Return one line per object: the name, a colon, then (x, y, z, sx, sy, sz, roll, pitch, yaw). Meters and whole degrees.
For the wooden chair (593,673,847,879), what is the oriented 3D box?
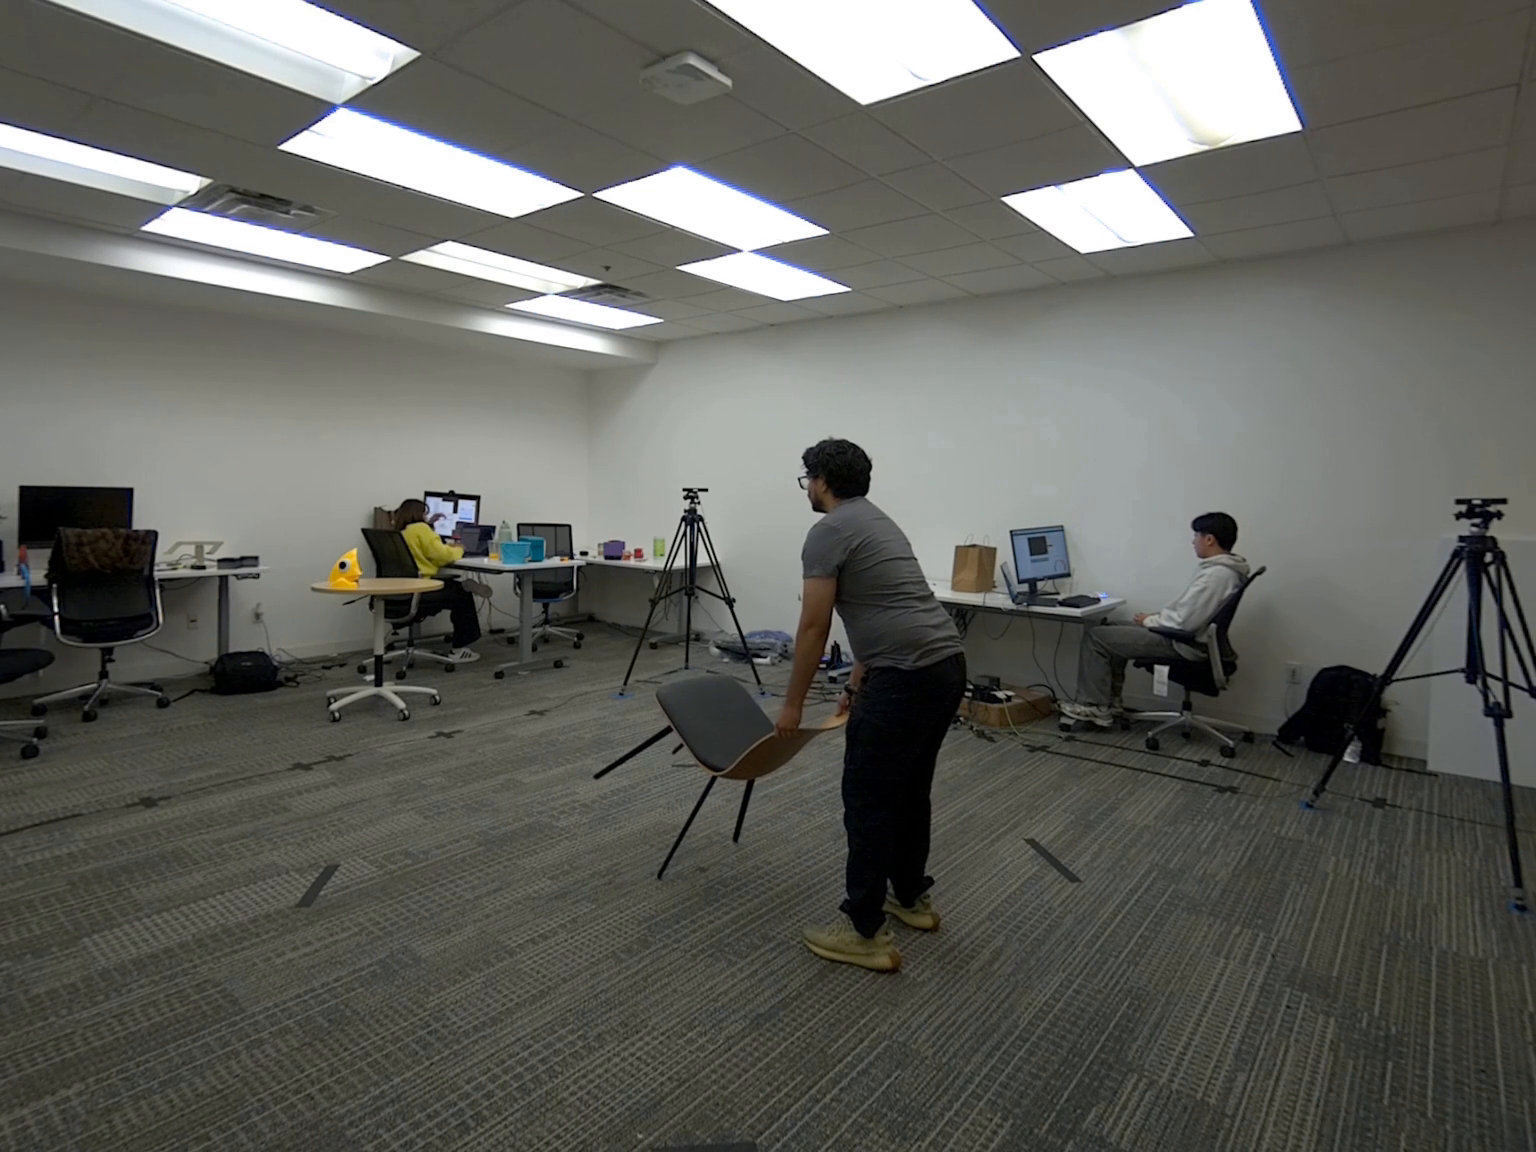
wooden chair: (-0.181, 0.590, 3.108, 0.464, 0.540, 0.876, -3, -40, -51)
